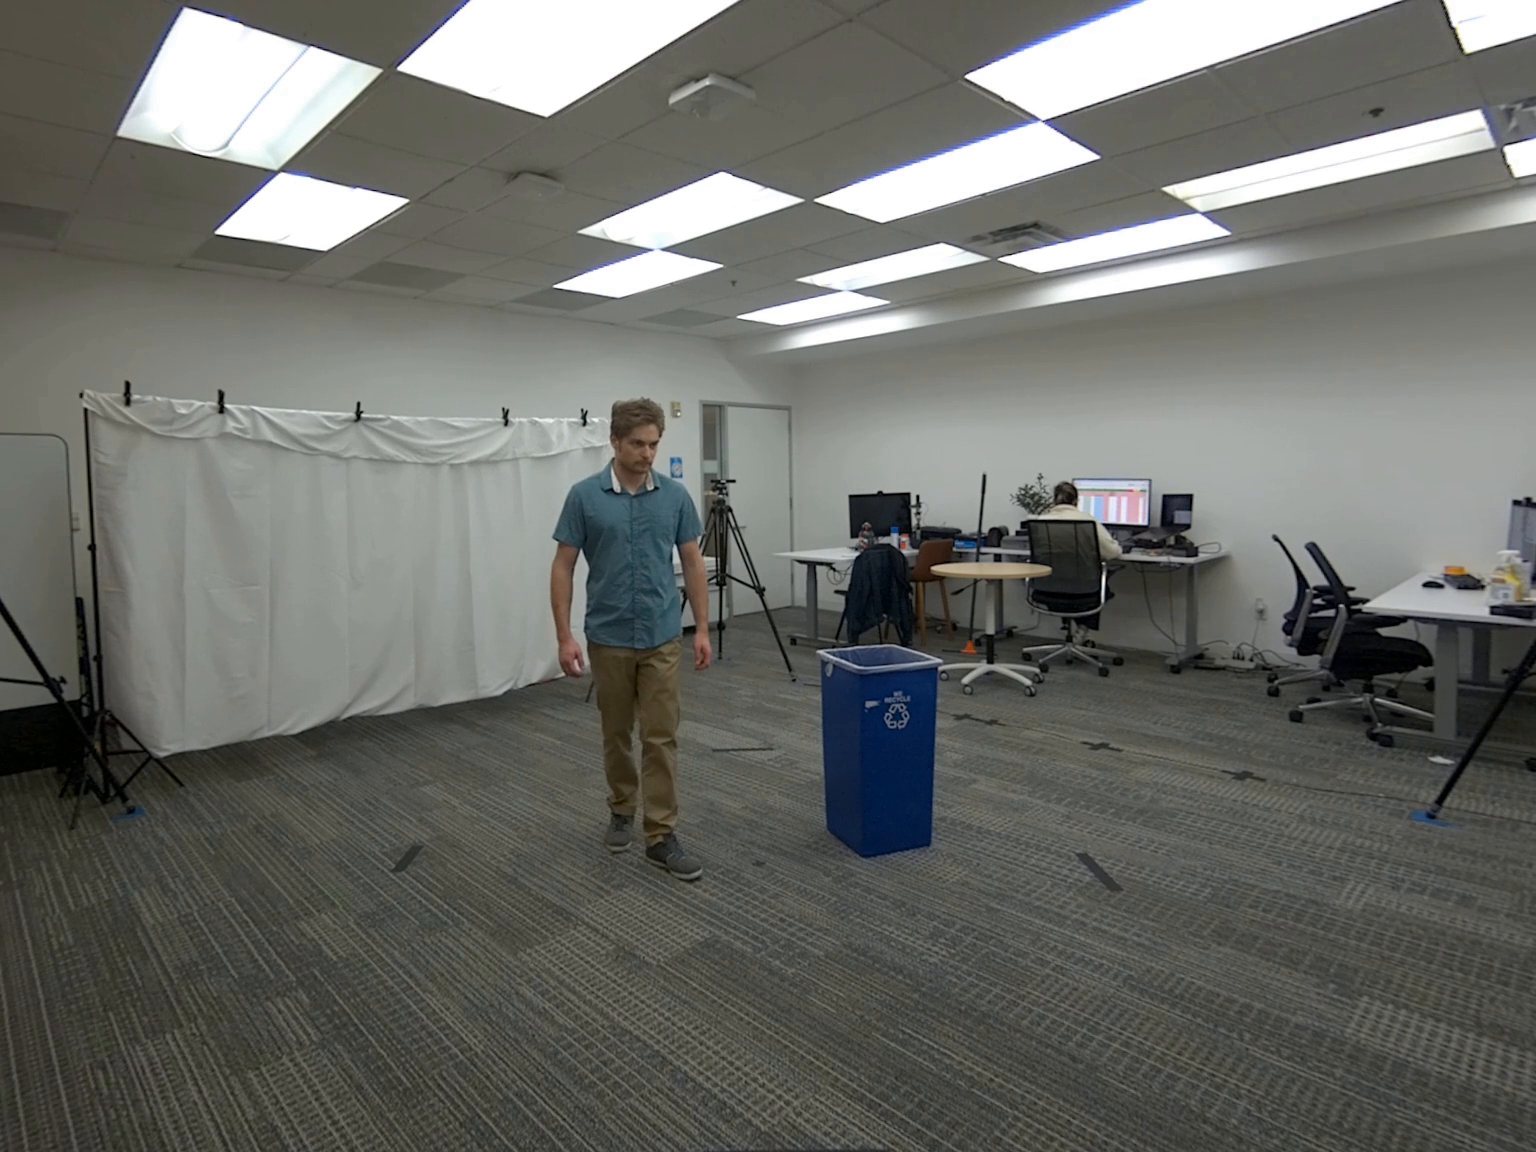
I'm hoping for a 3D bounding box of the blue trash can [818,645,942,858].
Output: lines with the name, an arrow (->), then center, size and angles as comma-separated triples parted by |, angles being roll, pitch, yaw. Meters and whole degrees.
blue trash can -> 0.428, 0.657, 3.309 | 0.367, 0.711, 0.387 | -2, 5, -22
